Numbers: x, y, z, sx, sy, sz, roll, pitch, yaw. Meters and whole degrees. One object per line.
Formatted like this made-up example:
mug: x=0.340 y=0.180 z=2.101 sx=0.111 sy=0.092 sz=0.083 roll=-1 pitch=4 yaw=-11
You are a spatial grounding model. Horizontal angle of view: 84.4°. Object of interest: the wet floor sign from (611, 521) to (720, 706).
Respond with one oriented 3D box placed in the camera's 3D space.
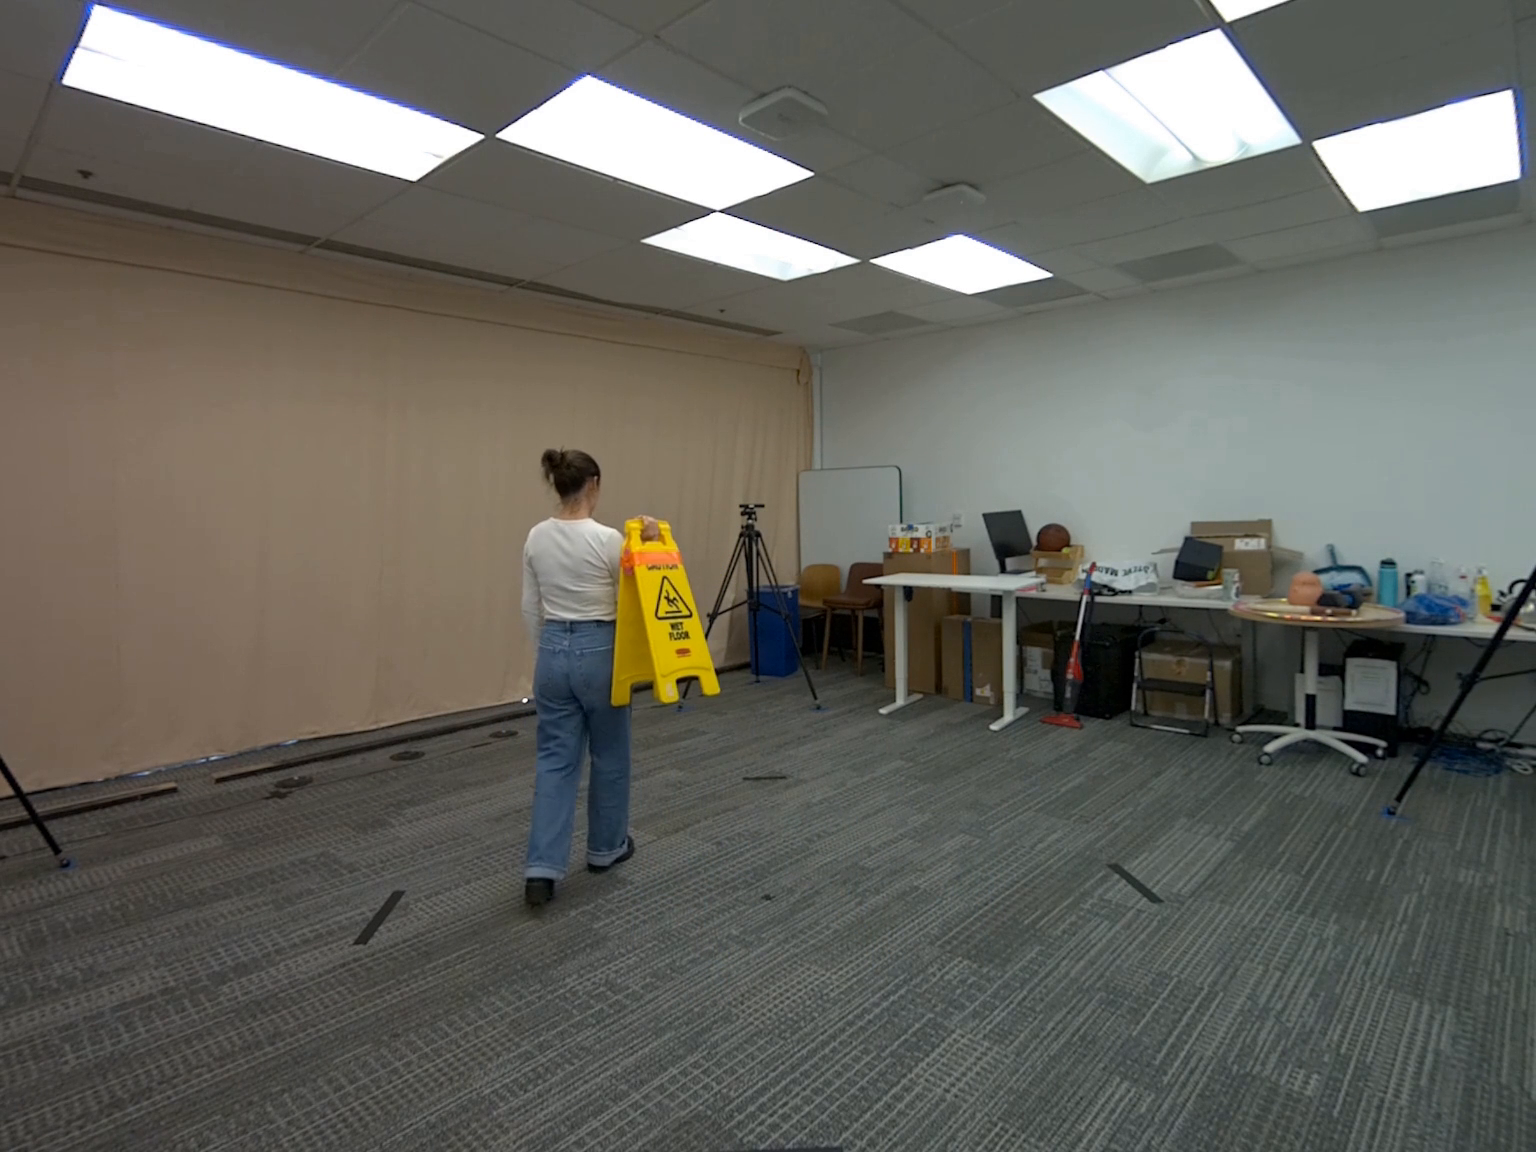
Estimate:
wet floor sign: x=-0.397 y=0.119 z=3.019 sx=0.297 sy=0.649 sz=0.273 roll=-13 pitch=-9 yaw=40
